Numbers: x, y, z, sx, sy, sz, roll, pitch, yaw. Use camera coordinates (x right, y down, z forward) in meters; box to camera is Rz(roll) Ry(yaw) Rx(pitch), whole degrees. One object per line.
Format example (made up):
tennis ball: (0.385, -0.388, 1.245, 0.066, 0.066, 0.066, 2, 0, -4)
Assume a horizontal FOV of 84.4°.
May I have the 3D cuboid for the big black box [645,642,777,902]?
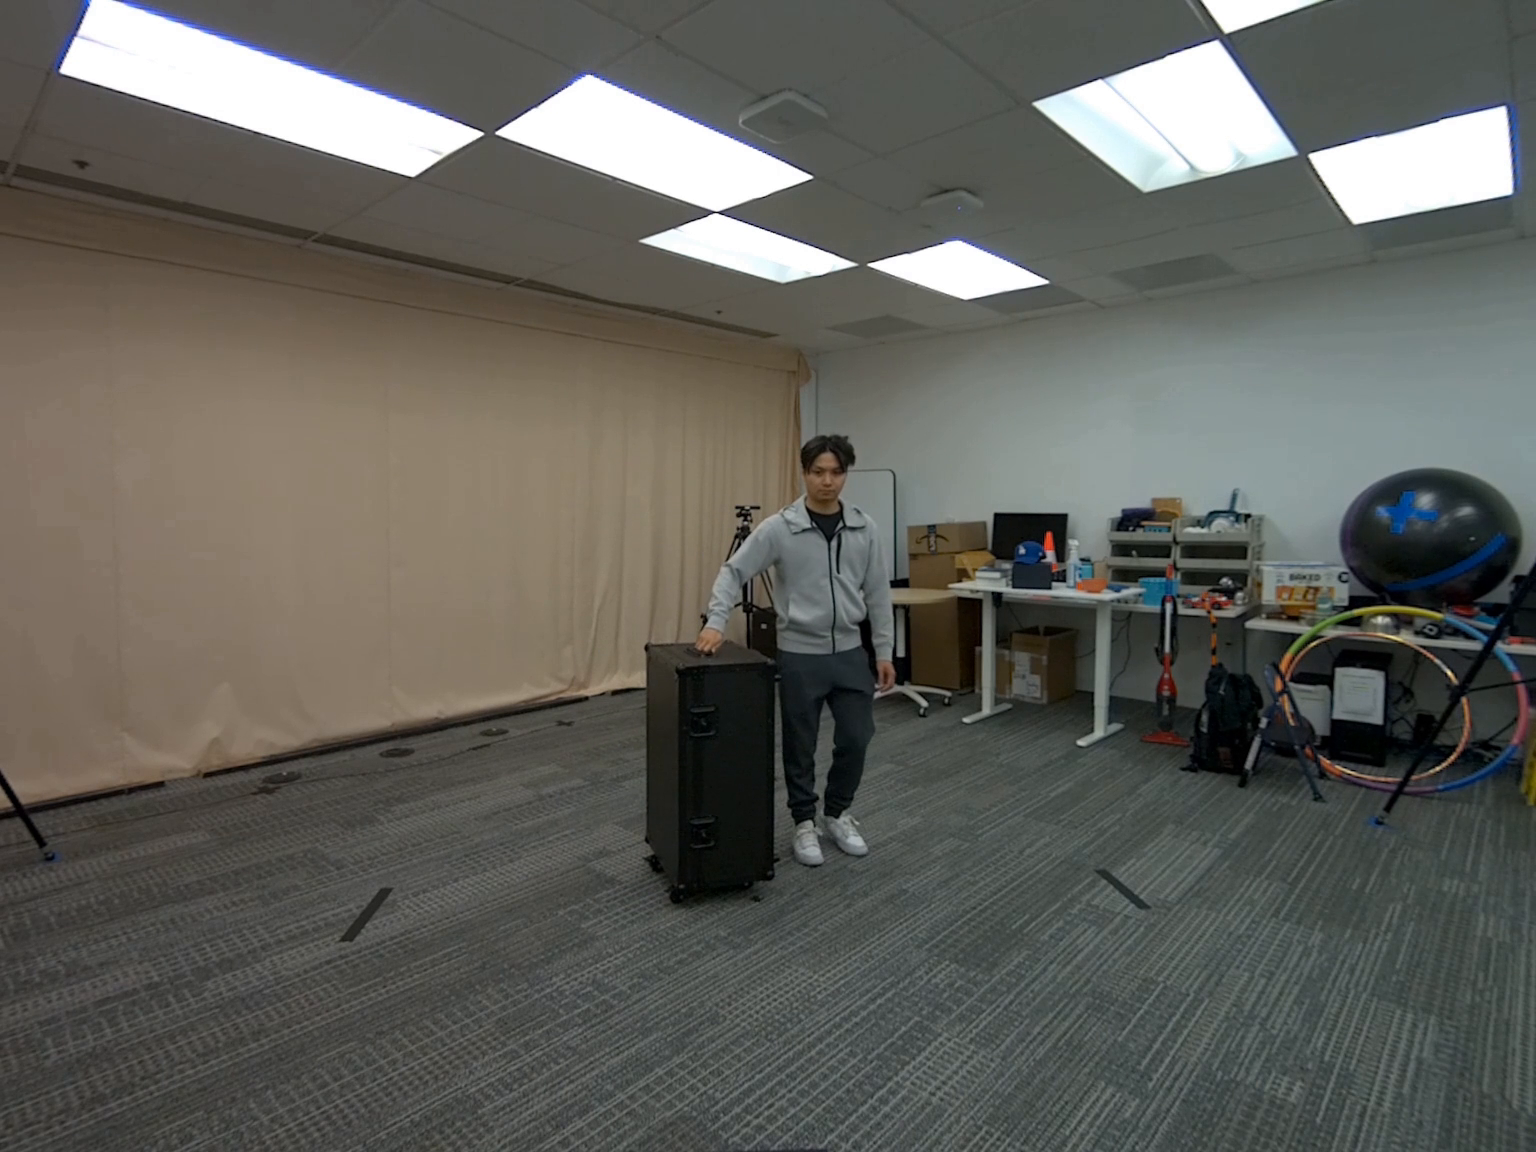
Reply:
big black box: (-0.222, 0.706, 3.141, 0.388, 0.860, 0.533, 0, 3, -21)
